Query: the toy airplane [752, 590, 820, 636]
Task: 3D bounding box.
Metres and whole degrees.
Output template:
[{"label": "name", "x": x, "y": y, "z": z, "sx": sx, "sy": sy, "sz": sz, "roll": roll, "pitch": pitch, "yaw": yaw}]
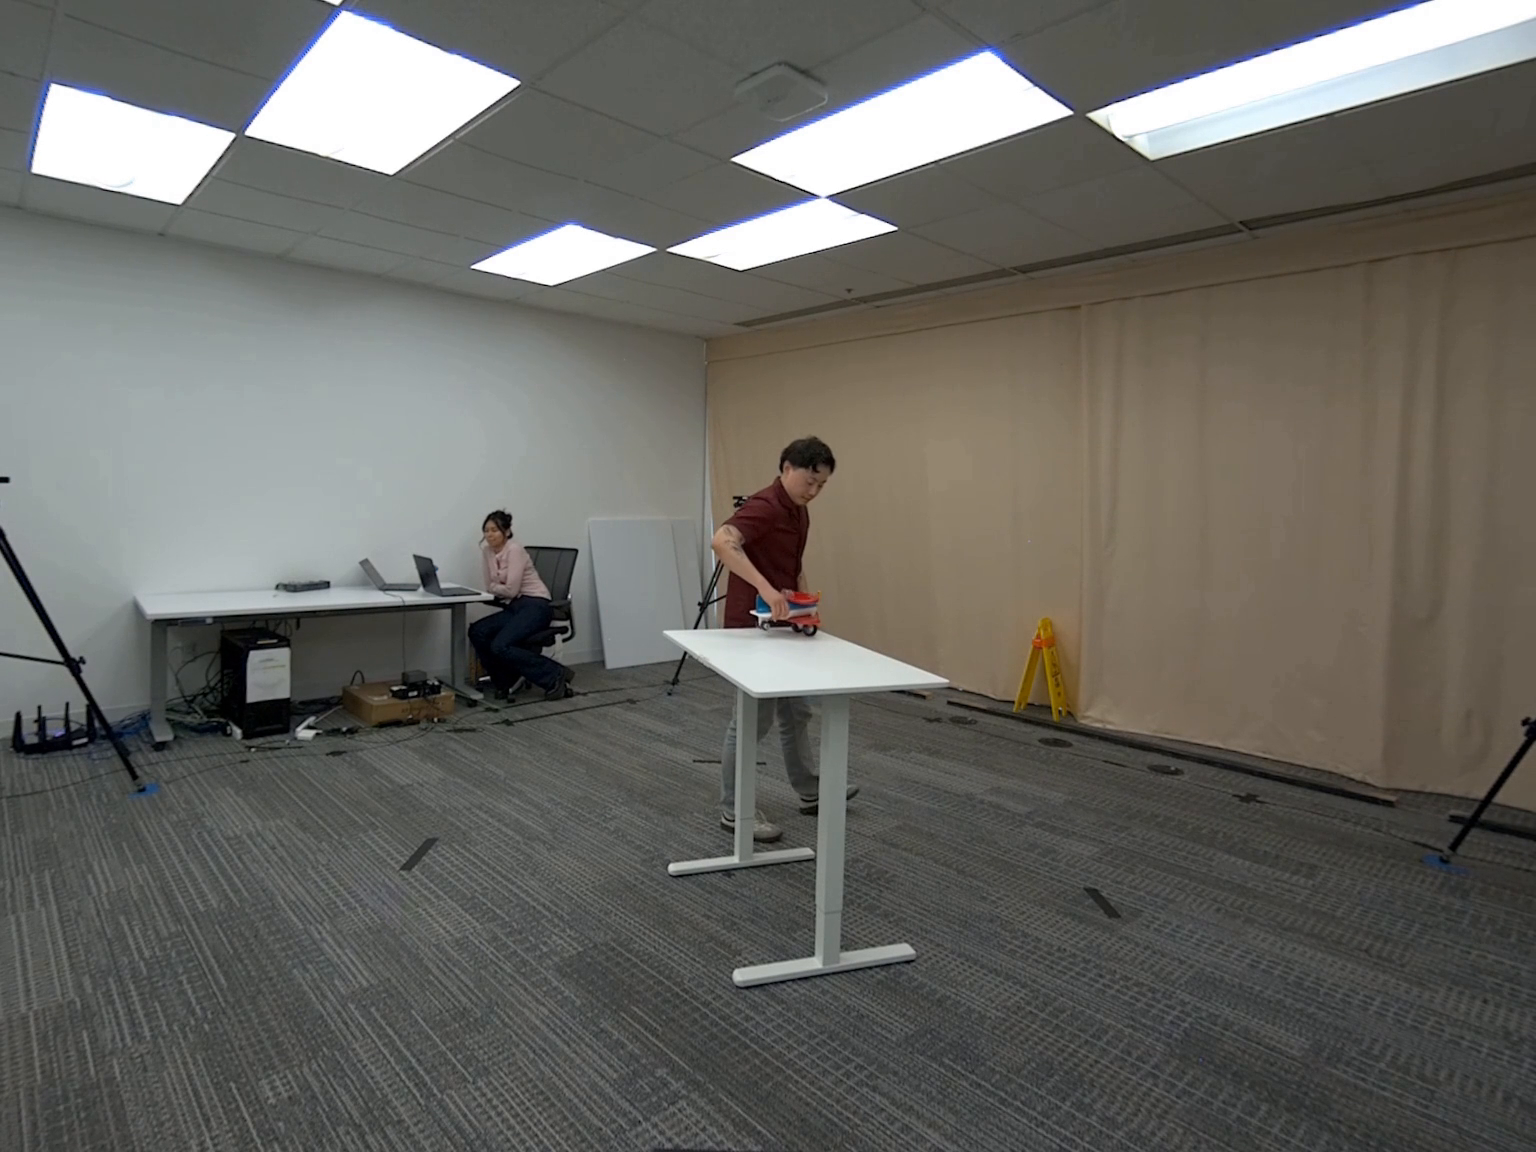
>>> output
[{"label": "toy airplane", "x": 0.071, "y": 0.136, "z": 3.123, "sx": 0.258, "sy": 0.156, "sz": 0.252, "roll": 11, "pitch": 1, "yaw": 37}]
